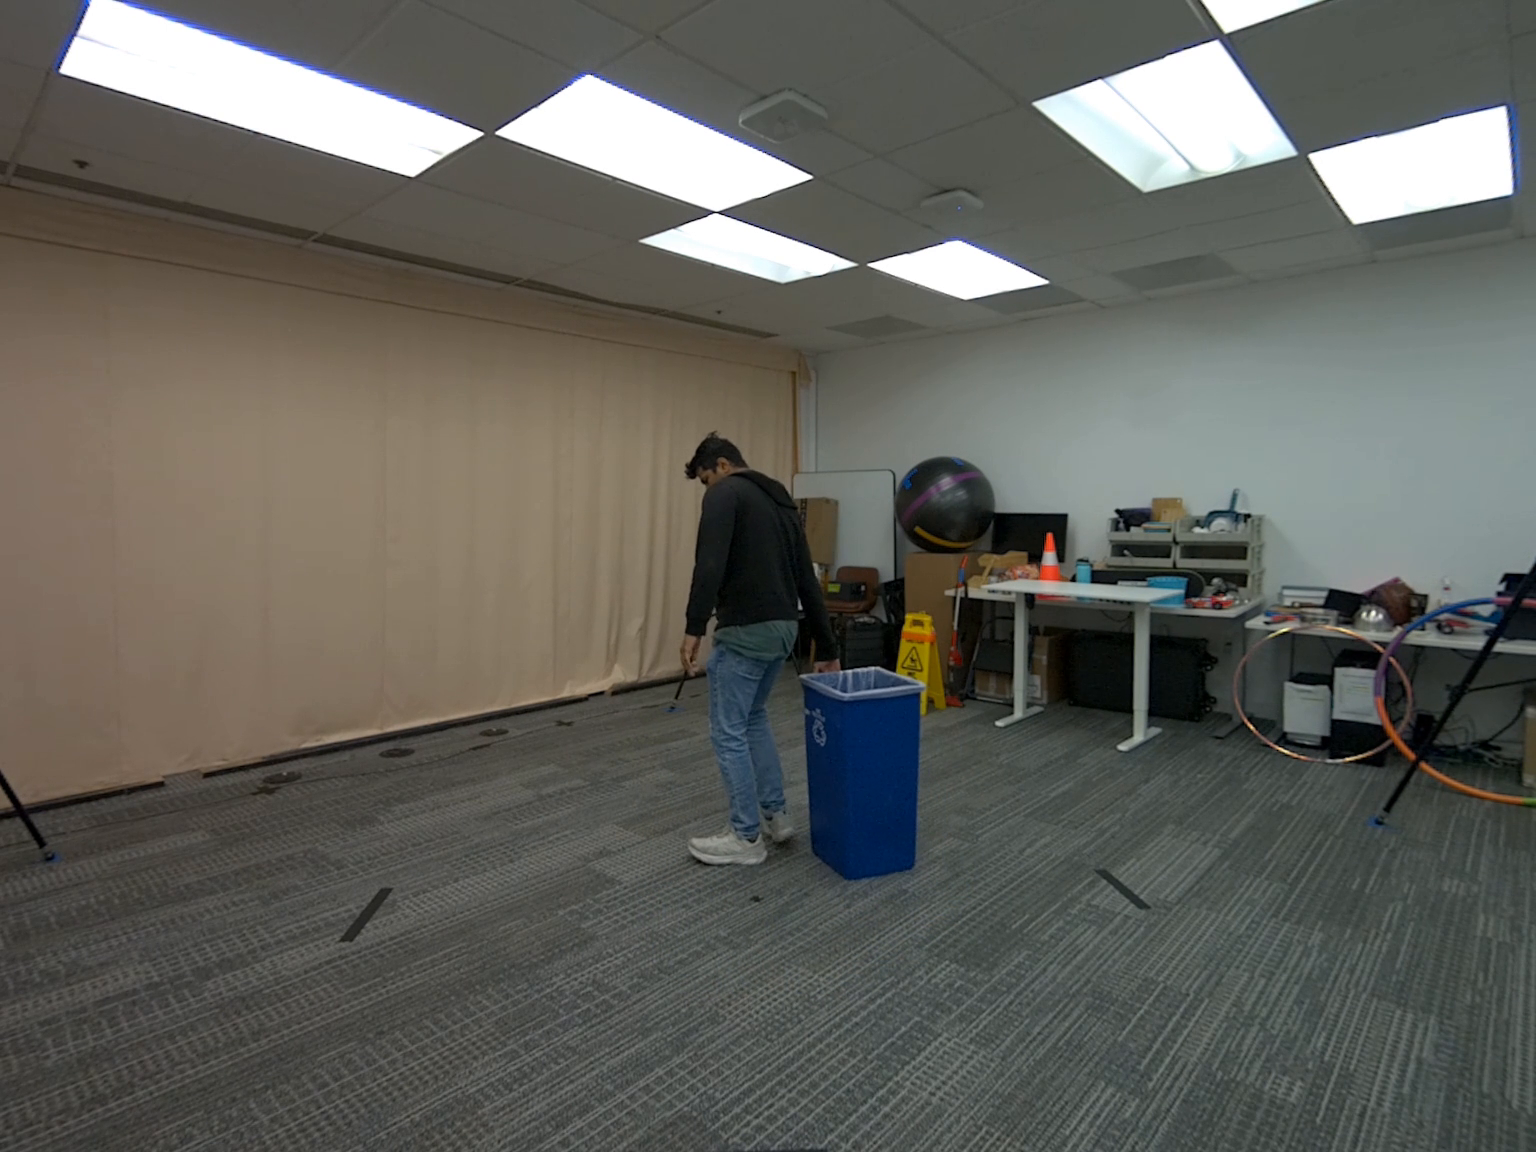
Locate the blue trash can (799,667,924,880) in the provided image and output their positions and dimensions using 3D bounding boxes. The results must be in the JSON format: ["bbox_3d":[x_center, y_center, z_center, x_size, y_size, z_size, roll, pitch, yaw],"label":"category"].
[{"bbox_3d":[0.362,0.757,3.284,0.365,0.712,0.388,-2,4,-25],"label":"blue trash can"}]
